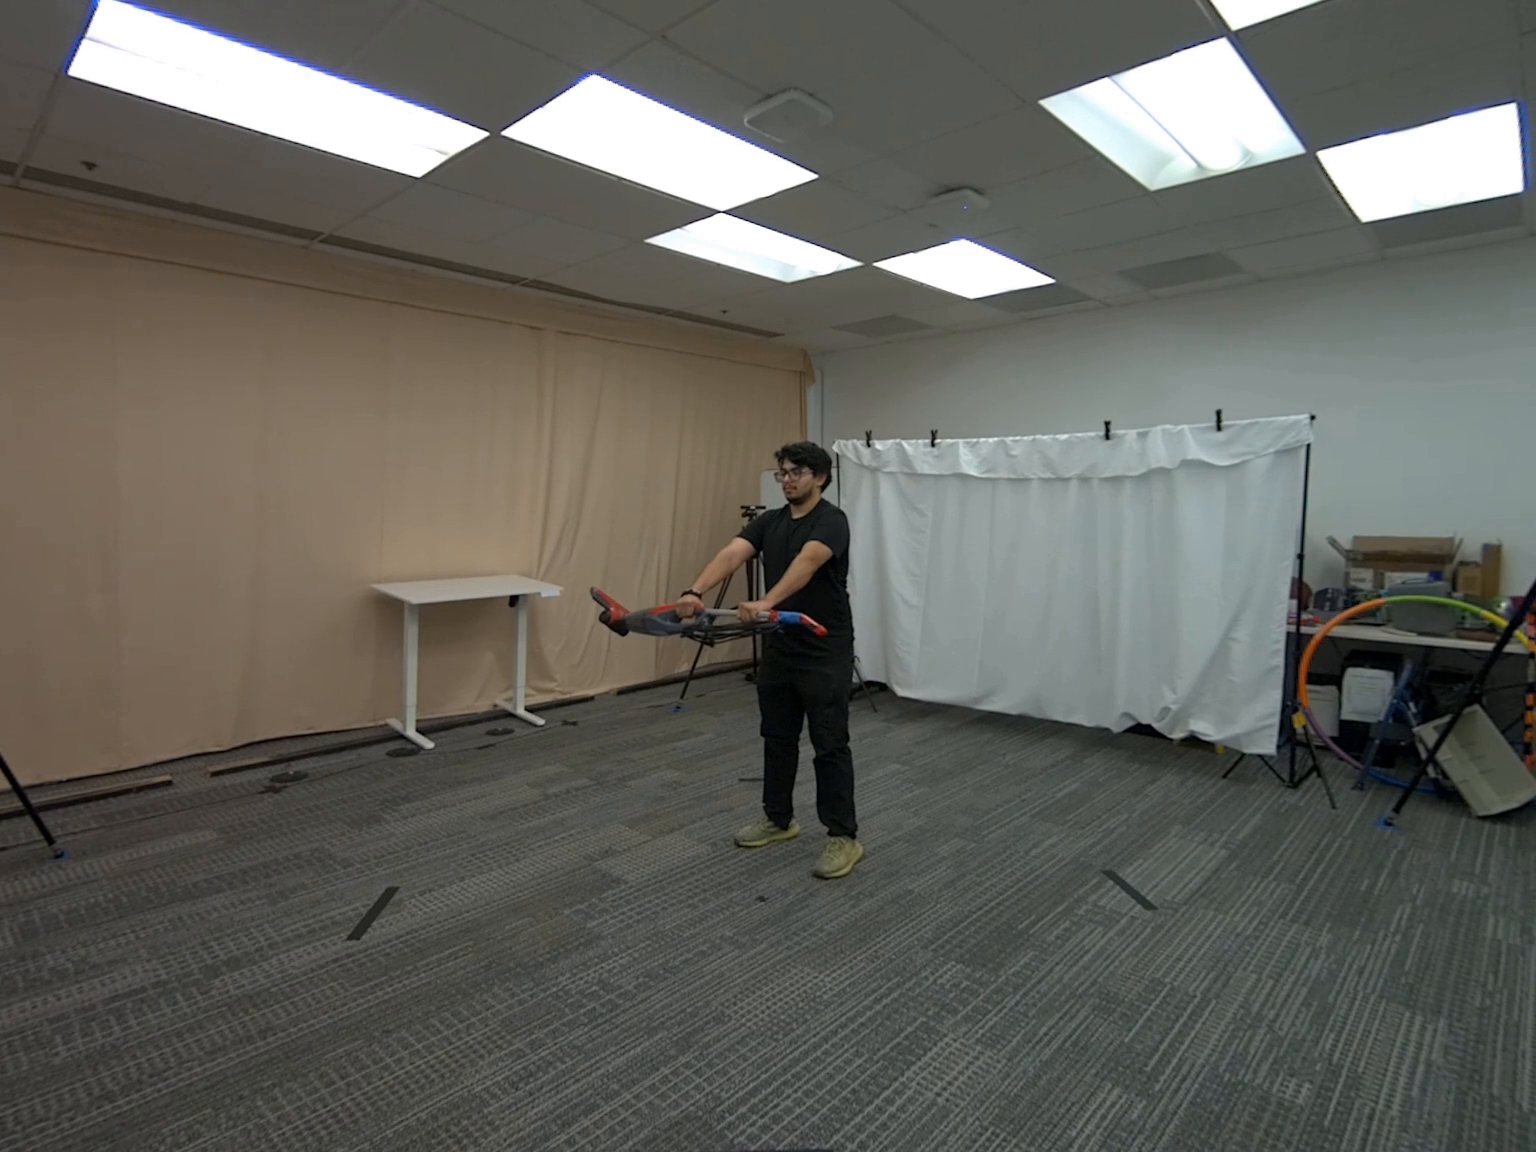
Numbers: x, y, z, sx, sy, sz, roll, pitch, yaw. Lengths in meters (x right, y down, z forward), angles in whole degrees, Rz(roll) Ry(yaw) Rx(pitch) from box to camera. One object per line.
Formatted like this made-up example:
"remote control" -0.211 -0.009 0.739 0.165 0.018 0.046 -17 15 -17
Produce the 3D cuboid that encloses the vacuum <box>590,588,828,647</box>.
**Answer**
"vacuum" -0.226 0.171 3.020 1.083 0.144 0.243 1 -29 42
